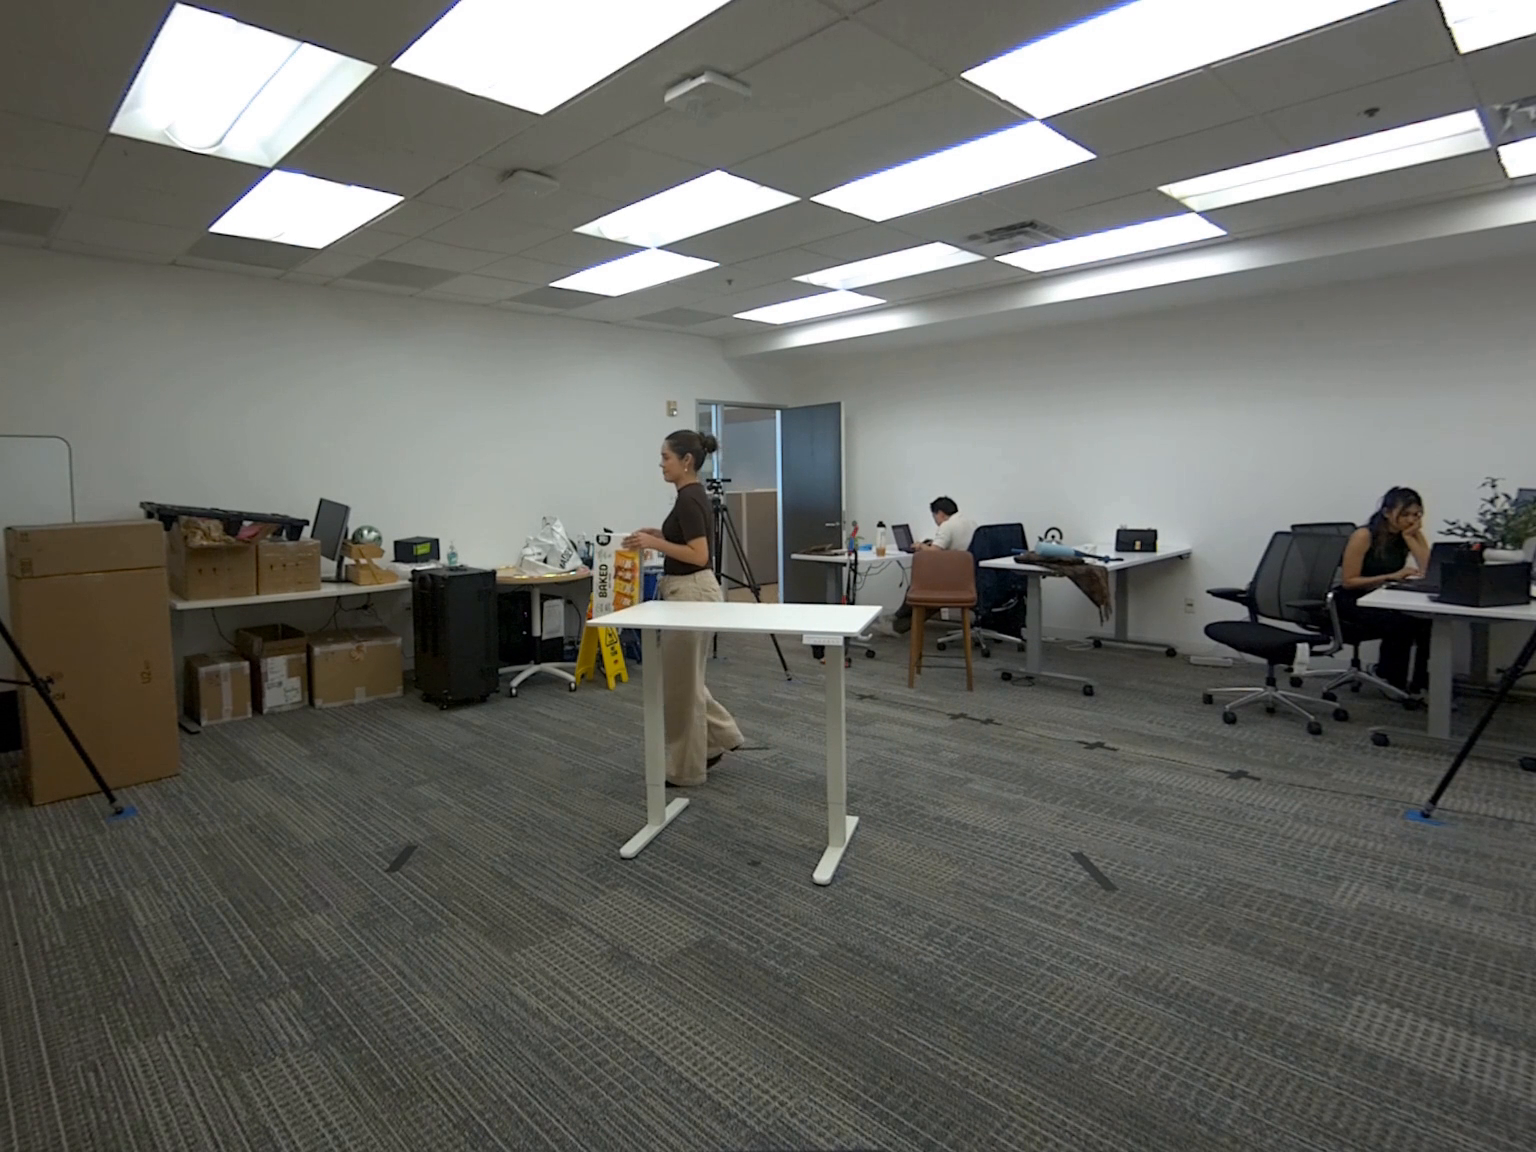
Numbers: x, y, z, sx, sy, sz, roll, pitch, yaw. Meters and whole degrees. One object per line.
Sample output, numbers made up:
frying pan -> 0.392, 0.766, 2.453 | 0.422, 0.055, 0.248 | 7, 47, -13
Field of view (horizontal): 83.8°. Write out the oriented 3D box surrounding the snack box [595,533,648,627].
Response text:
snack box -> -0.674, 0.008, 3.947 | 0.205, 0.405, 0.342 | 1, 1, -4
